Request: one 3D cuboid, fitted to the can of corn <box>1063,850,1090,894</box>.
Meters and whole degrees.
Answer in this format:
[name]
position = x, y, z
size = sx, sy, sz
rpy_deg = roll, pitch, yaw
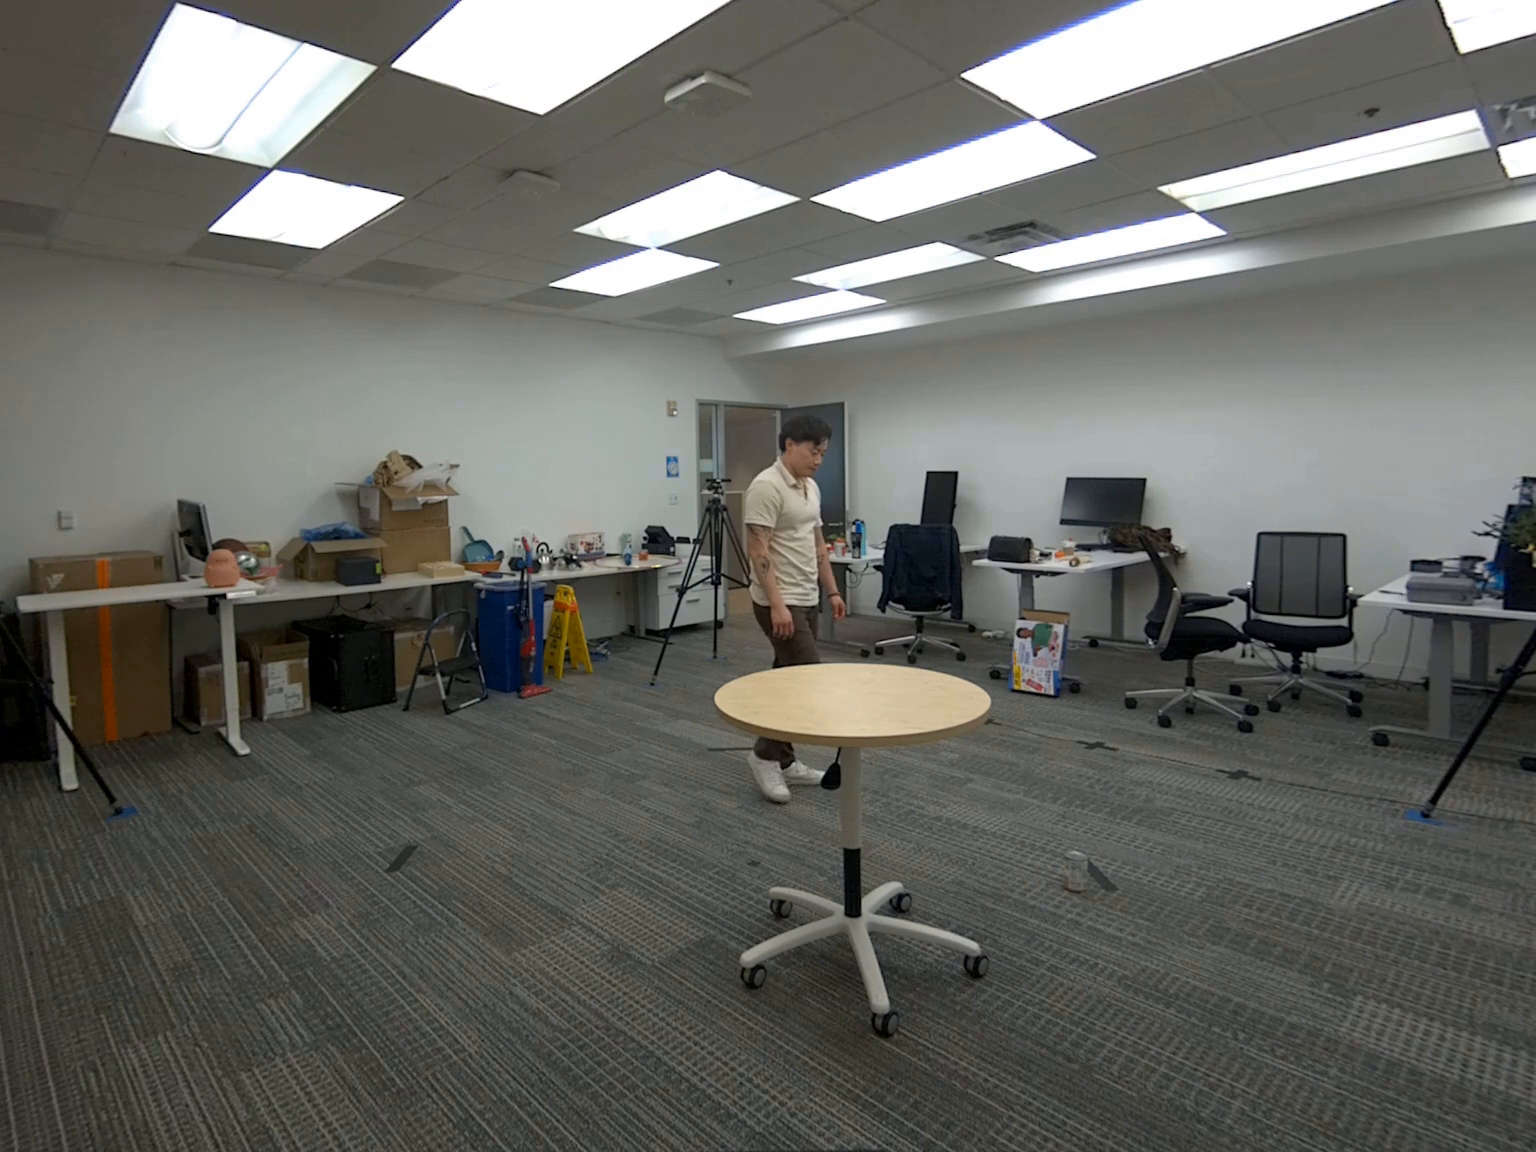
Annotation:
[can of corn]
position = 1.038, 0.997, 2.874
size = 0.074, 0.111, 0.074
rpy_deg = 2, 4, -2
